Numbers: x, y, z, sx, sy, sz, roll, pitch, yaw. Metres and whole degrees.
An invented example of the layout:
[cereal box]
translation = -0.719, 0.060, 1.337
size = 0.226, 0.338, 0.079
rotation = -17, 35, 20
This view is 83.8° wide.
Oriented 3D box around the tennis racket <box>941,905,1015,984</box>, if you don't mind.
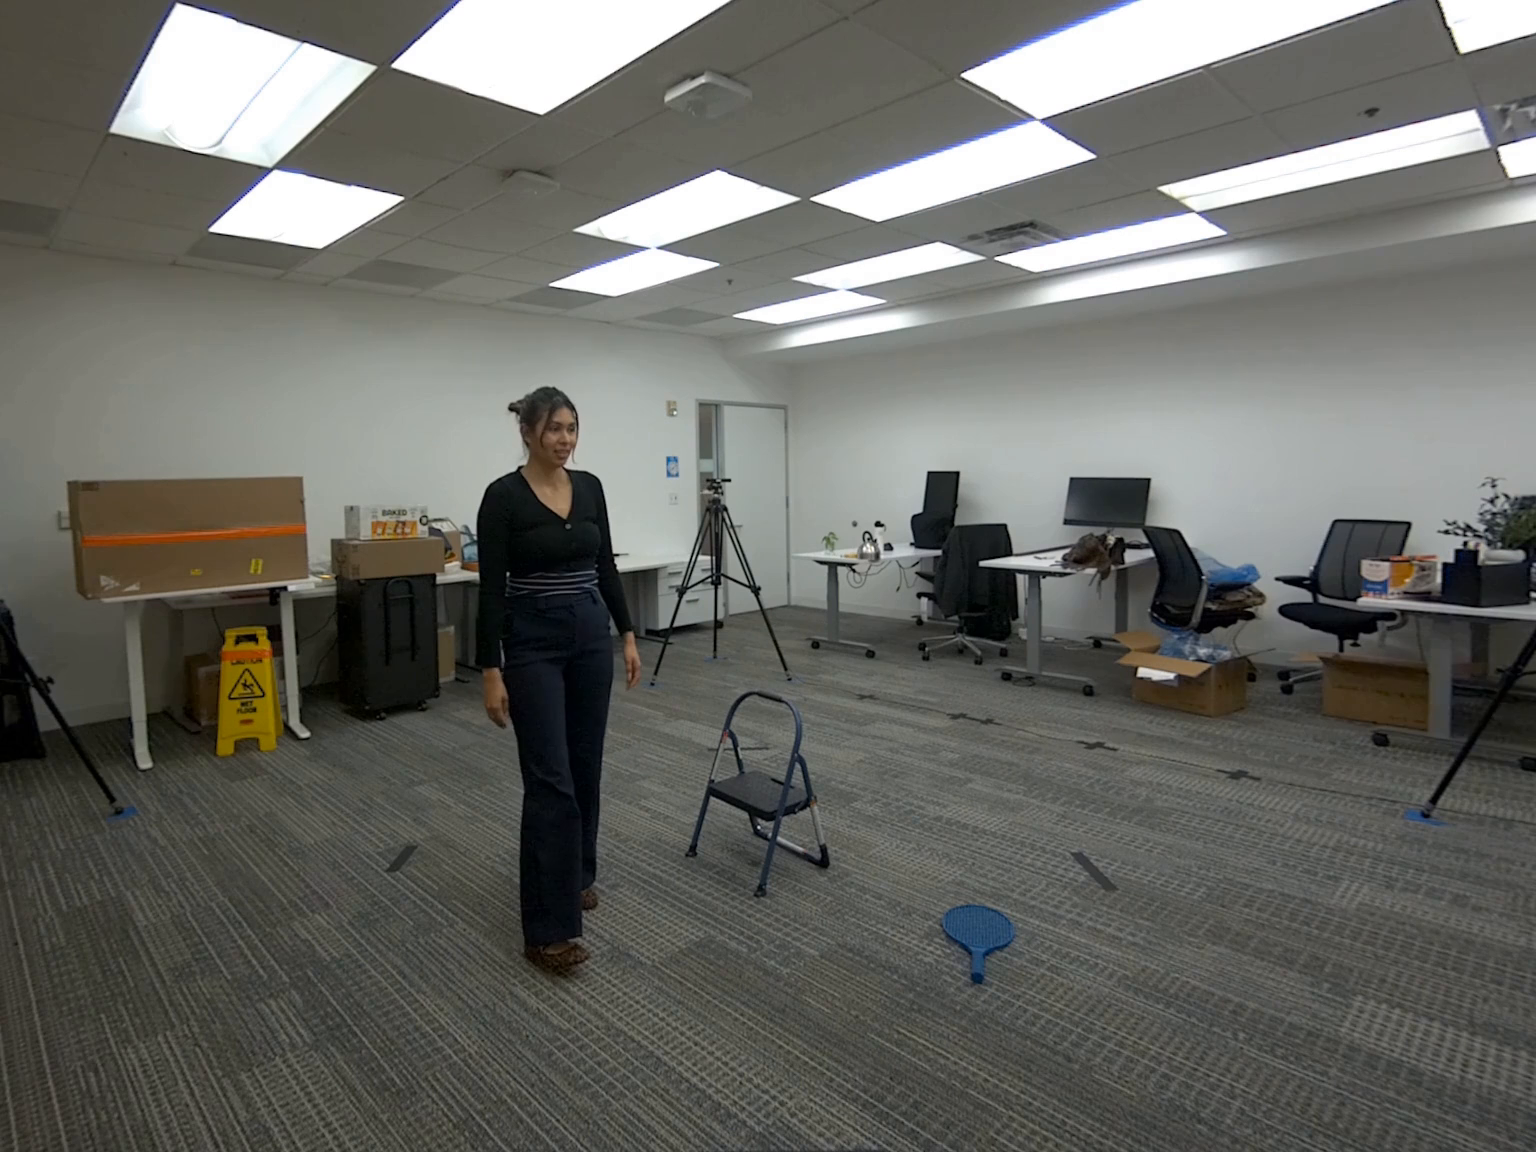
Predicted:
[tennis racket]
translation = 0.626, 1.077, 2.551
size = 0.217, 0.031, 0.428
rotation = 1, 6, 13
